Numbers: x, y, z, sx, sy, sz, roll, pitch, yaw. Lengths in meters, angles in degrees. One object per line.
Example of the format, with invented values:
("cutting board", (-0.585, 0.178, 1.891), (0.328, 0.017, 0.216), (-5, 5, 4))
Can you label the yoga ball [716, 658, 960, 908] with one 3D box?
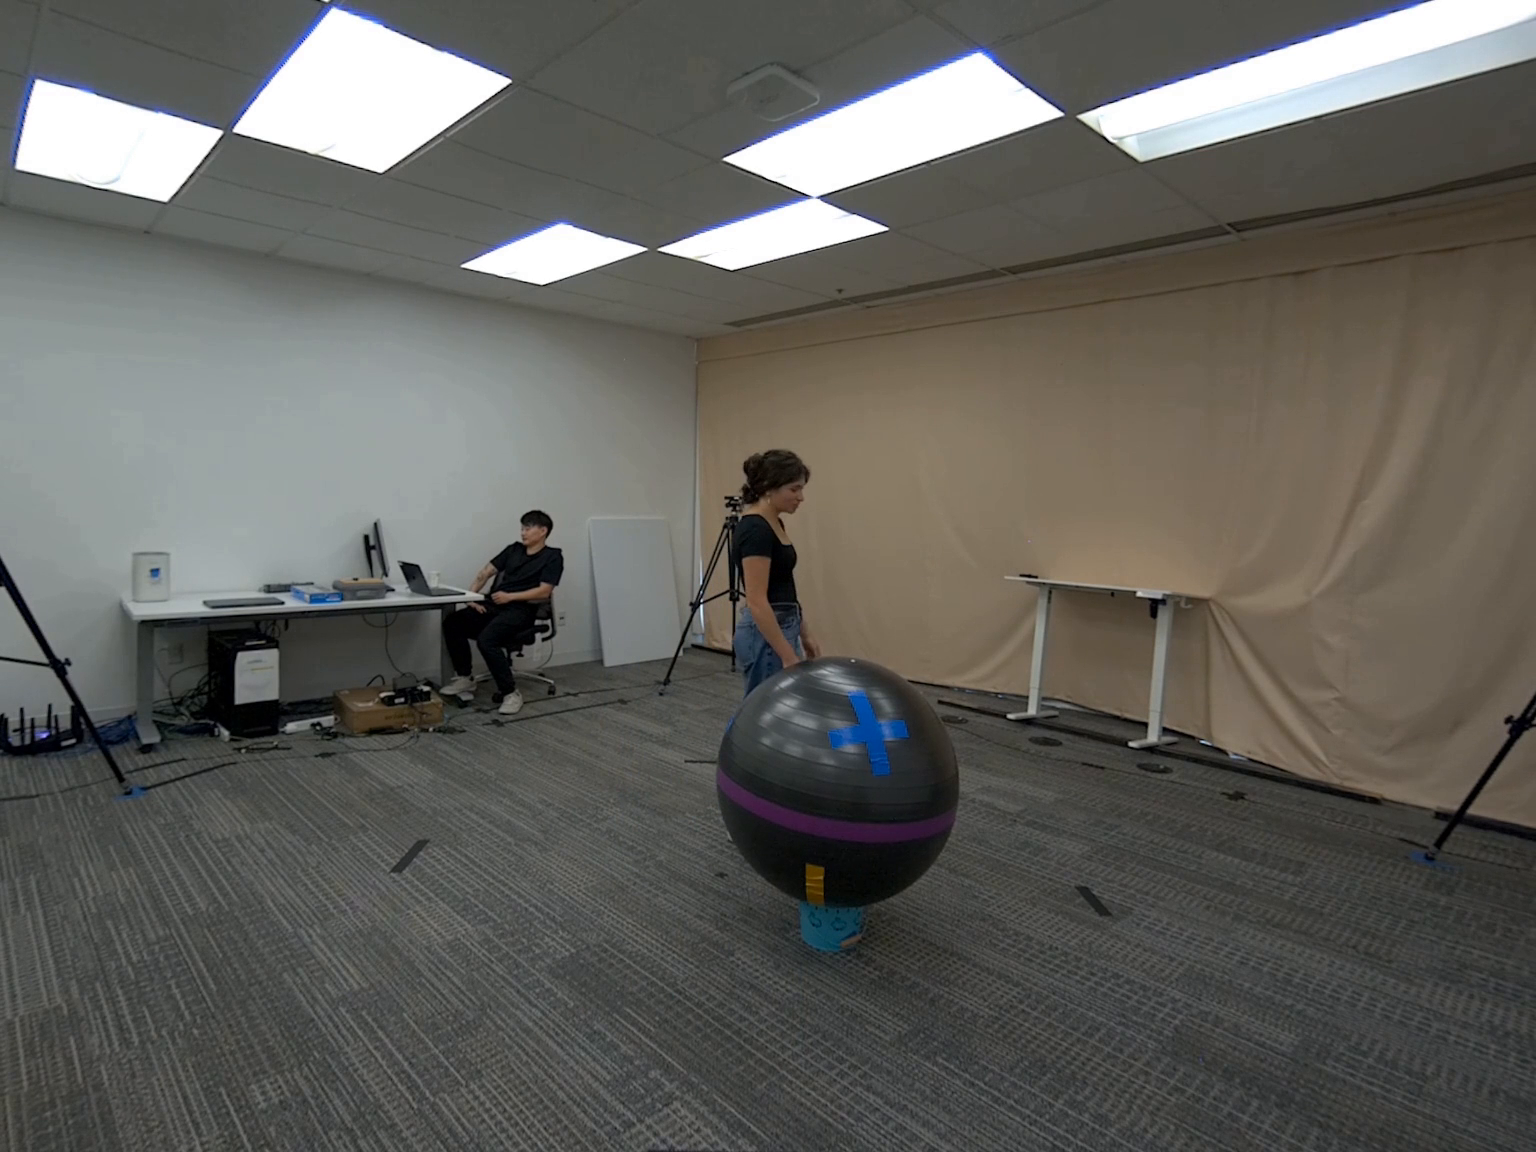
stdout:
("yoga ball", (0.215, 0.640, 2.654), (0.757, 0.756, 0.761), (1, 4, -1))
